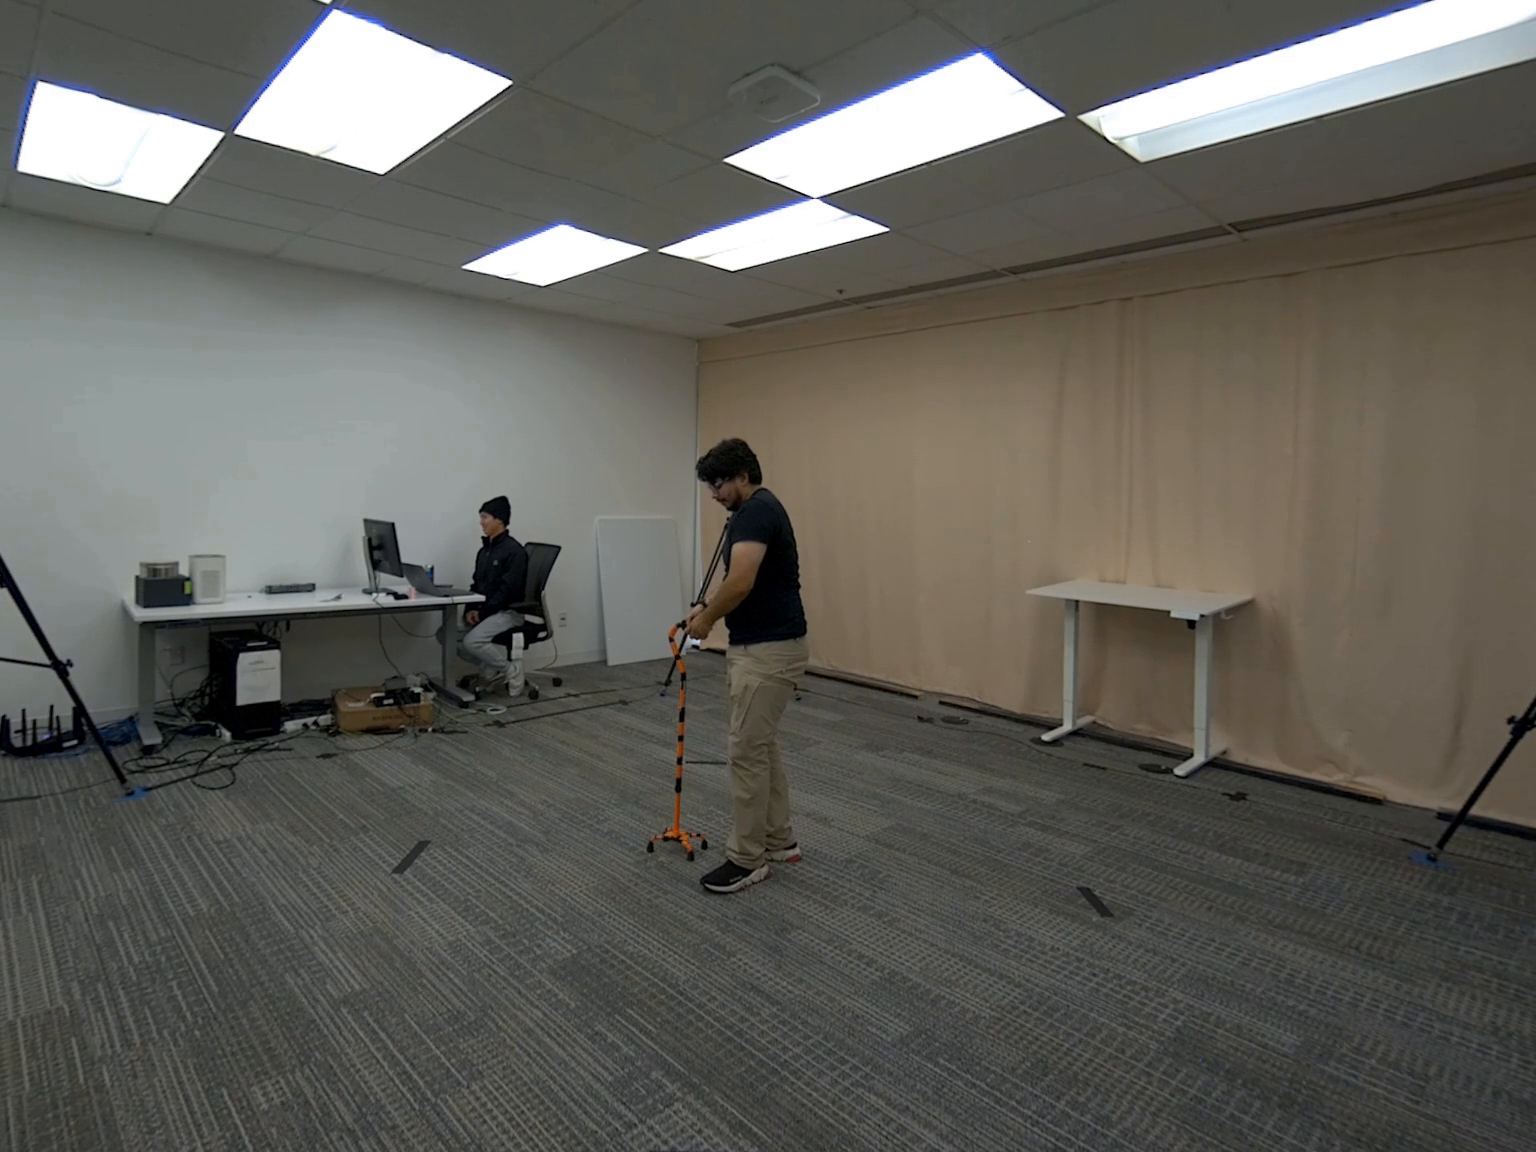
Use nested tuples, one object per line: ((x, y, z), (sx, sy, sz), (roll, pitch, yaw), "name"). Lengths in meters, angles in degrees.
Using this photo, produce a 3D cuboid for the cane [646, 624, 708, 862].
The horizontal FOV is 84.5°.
((-0.343, 0.626, 3.309), (0.210, 0.906, 0.149), (4, 3, 22), "cane")
